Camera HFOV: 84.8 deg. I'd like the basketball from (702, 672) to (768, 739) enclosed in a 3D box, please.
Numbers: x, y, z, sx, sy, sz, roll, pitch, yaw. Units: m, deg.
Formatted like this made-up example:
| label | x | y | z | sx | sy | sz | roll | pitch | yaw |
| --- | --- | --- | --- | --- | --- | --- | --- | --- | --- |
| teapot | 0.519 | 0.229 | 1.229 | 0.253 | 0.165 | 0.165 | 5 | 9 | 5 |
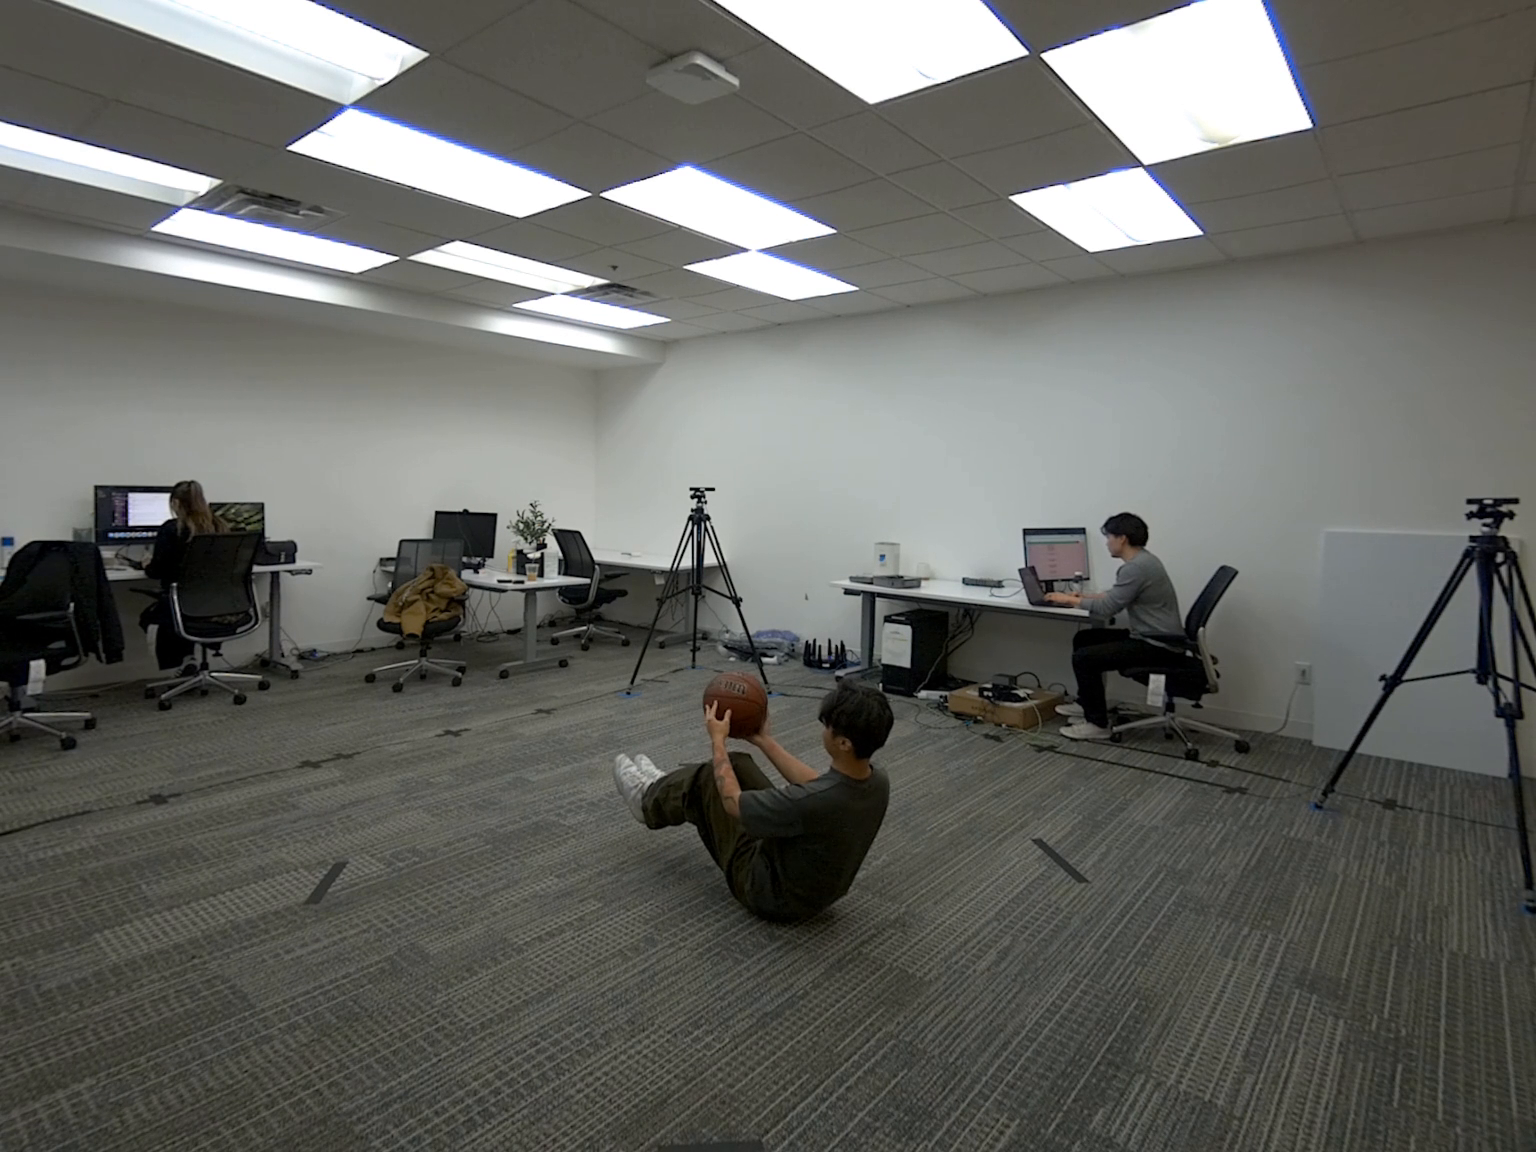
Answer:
| label | x | y | z | sx | sy | sz | roll | pitch | yaw |
| --- | --- | --- | --- | --- | --- | --- | --- | --- | --- |
| basketball | -0.128 | 0.474 | 3.110 | 0.235 | 0.235 | 0.237 | 1 | 4 | -2 |
